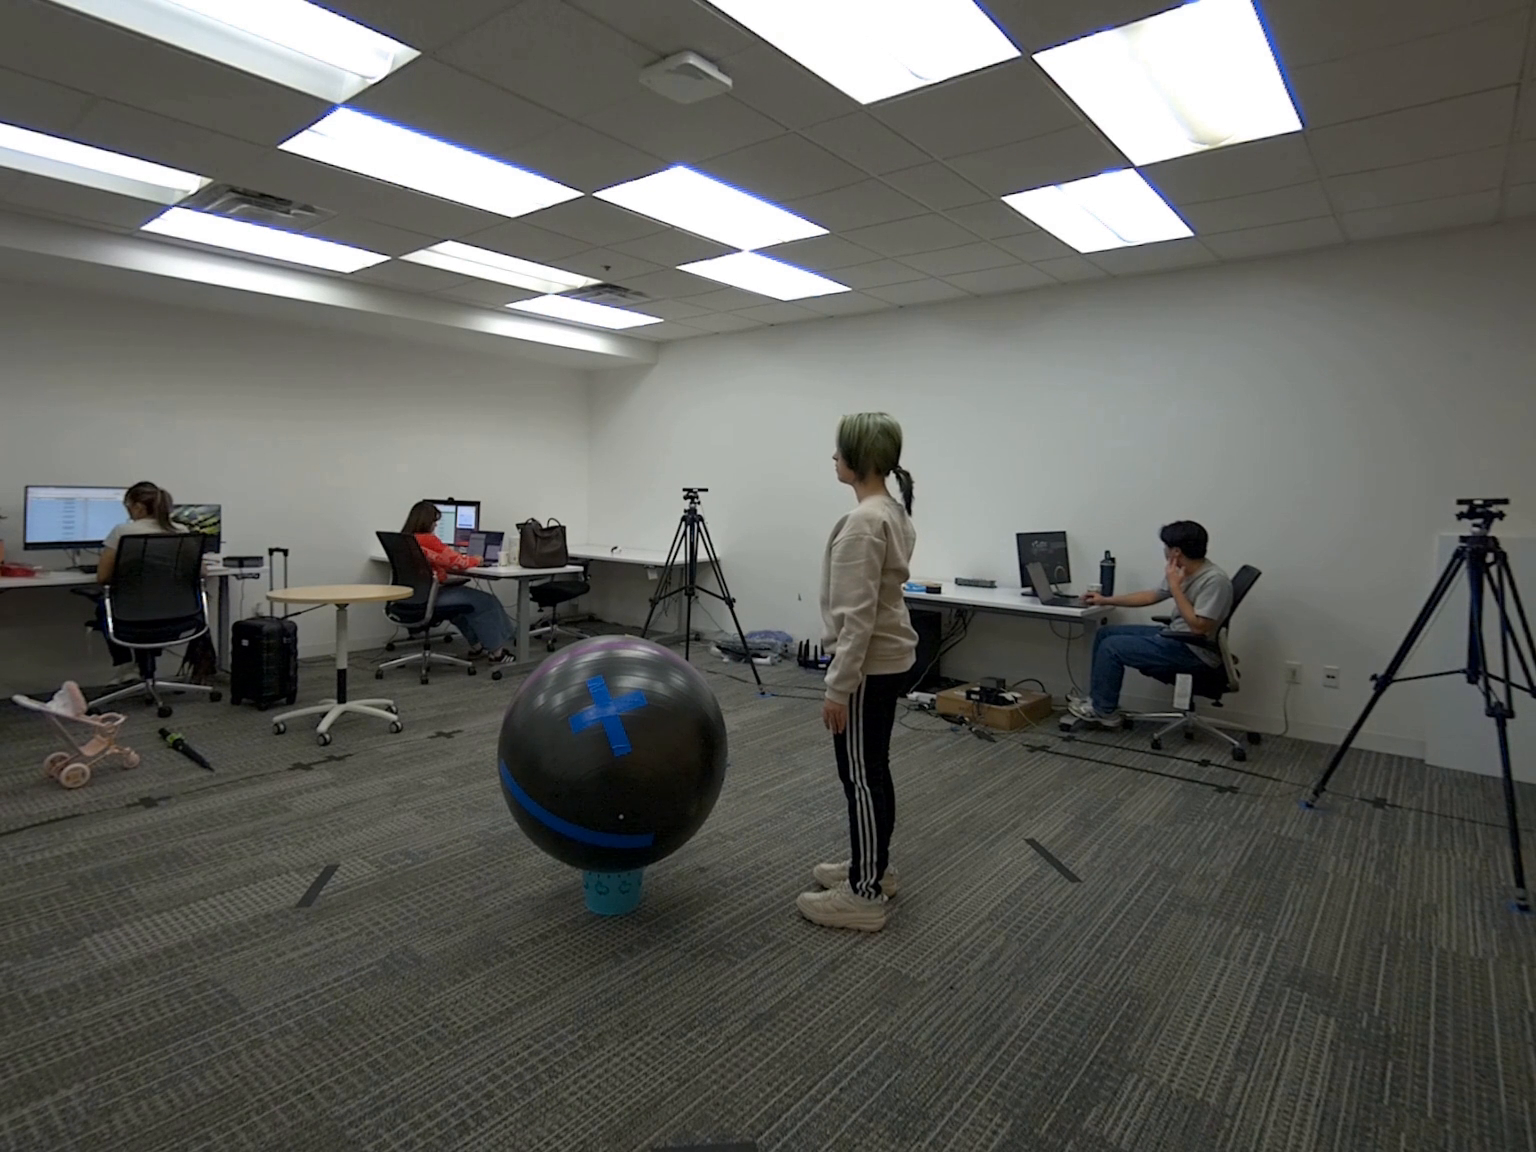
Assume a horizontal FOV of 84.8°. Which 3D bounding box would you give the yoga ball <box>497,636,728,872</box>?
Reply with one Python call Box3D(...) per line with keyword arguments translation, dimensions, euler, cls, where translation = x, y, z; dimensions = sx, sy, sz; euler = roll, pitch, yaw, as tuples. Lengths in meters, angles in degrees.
Box3D(translation=(-0.521, 0.581, 2.833), dimensions=(0.757, 0.756, 0.761), euler=(1, 4, -2), cls="yoga ball")
